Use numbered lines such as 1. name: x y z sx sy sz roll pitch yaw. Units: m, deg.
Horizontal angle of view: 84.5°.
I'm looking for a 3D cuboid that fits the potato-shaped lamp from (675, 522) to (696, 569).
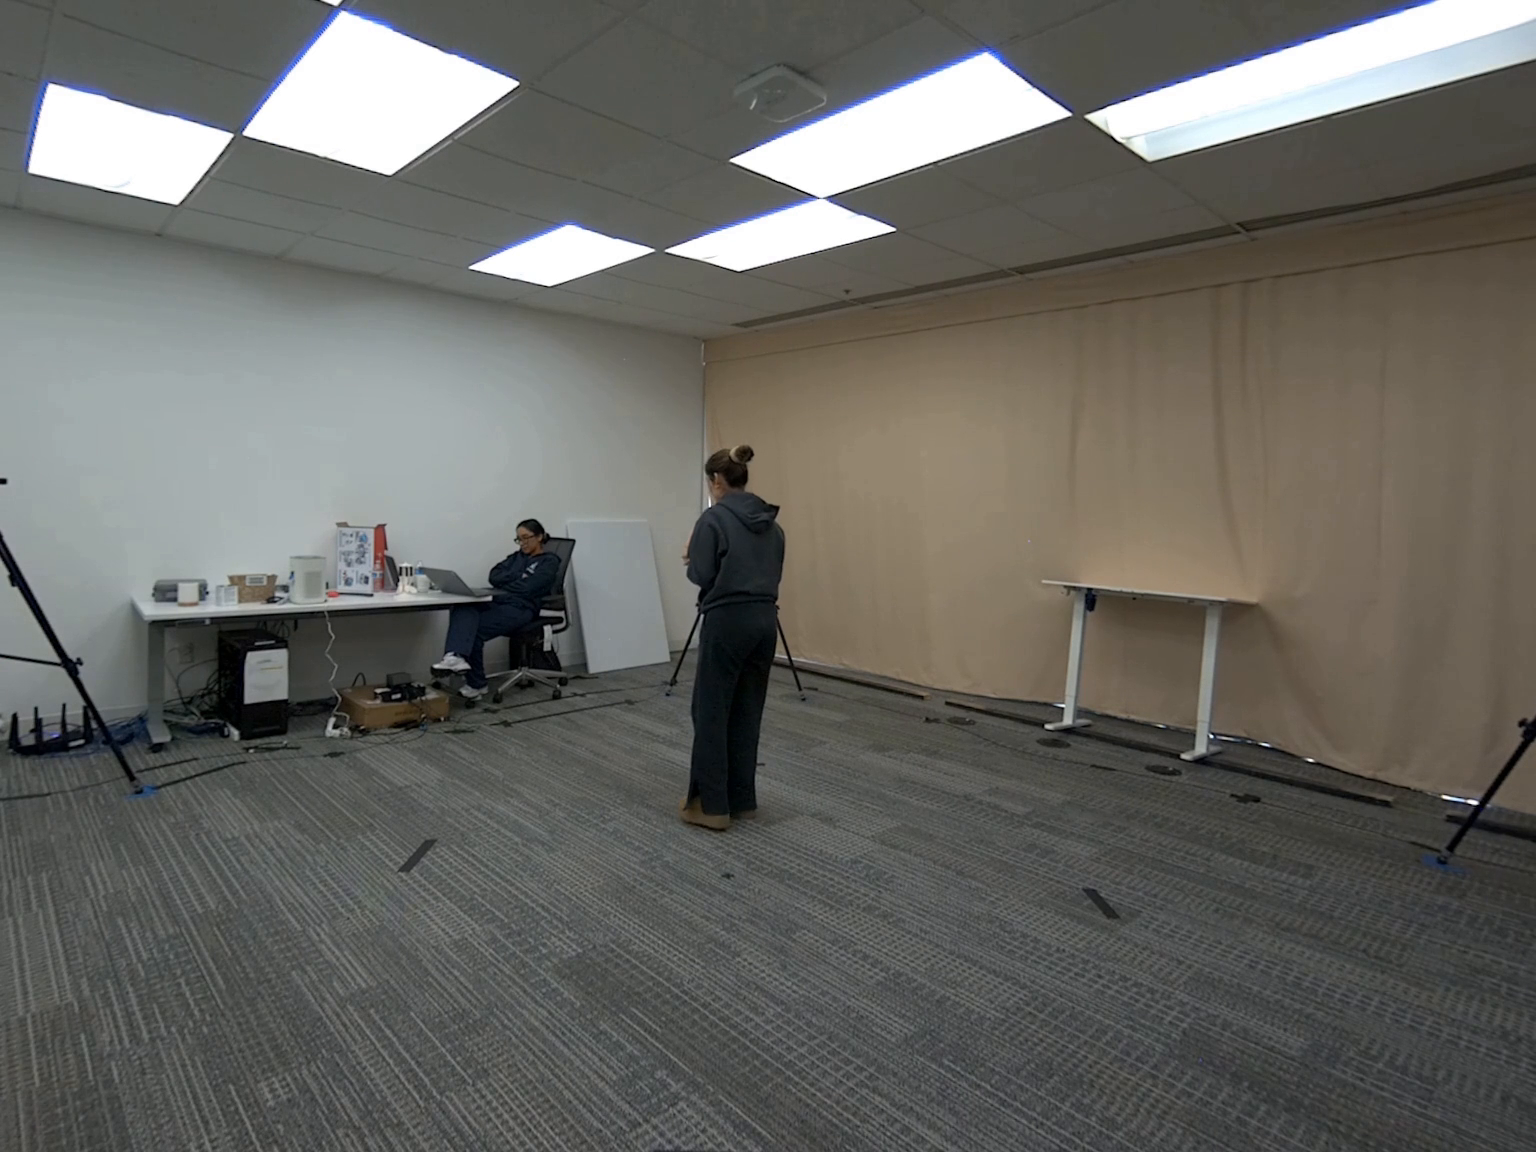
1. potato-shaped lamp: -0.309 -0.140 3.889 0.161 0.197 0.176 -2 9 -38
